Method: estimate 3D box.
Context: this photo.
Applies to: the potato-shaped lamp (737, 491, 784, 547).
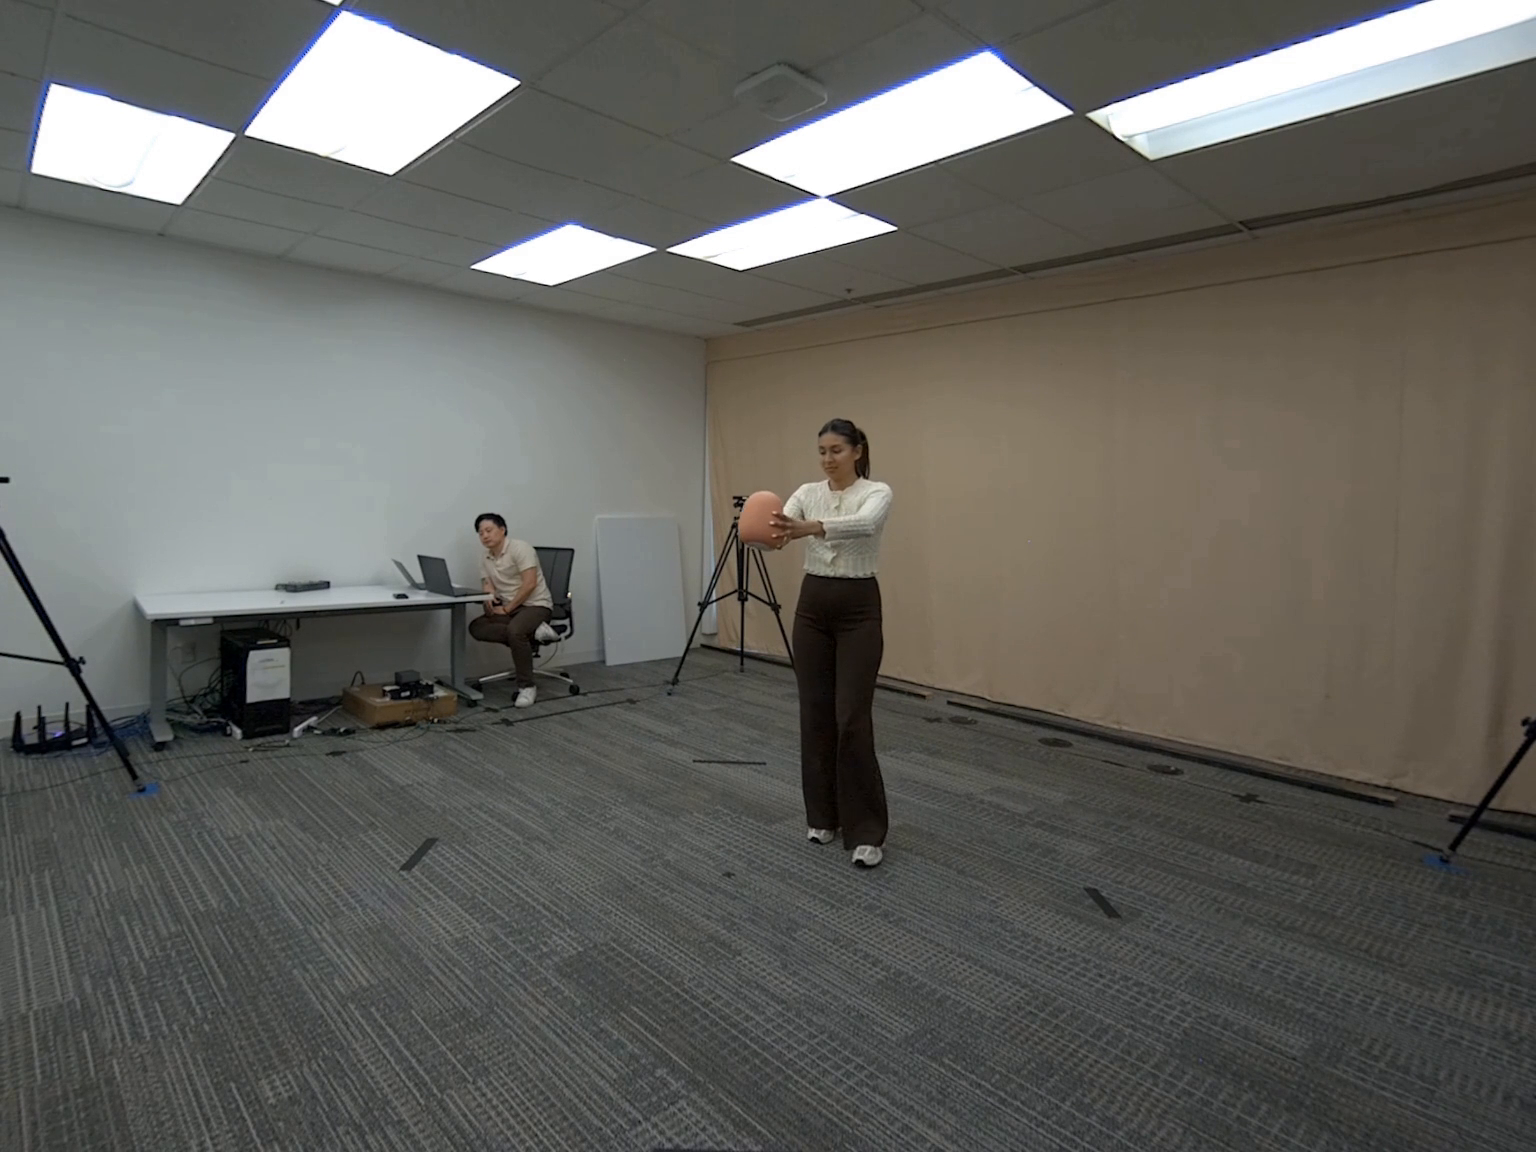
[{"bbox_3d":[-0.024,-0.202,2.970,0.166,0.198,0.170,2,1,10],"label":"potato-shaped lamp"}]
